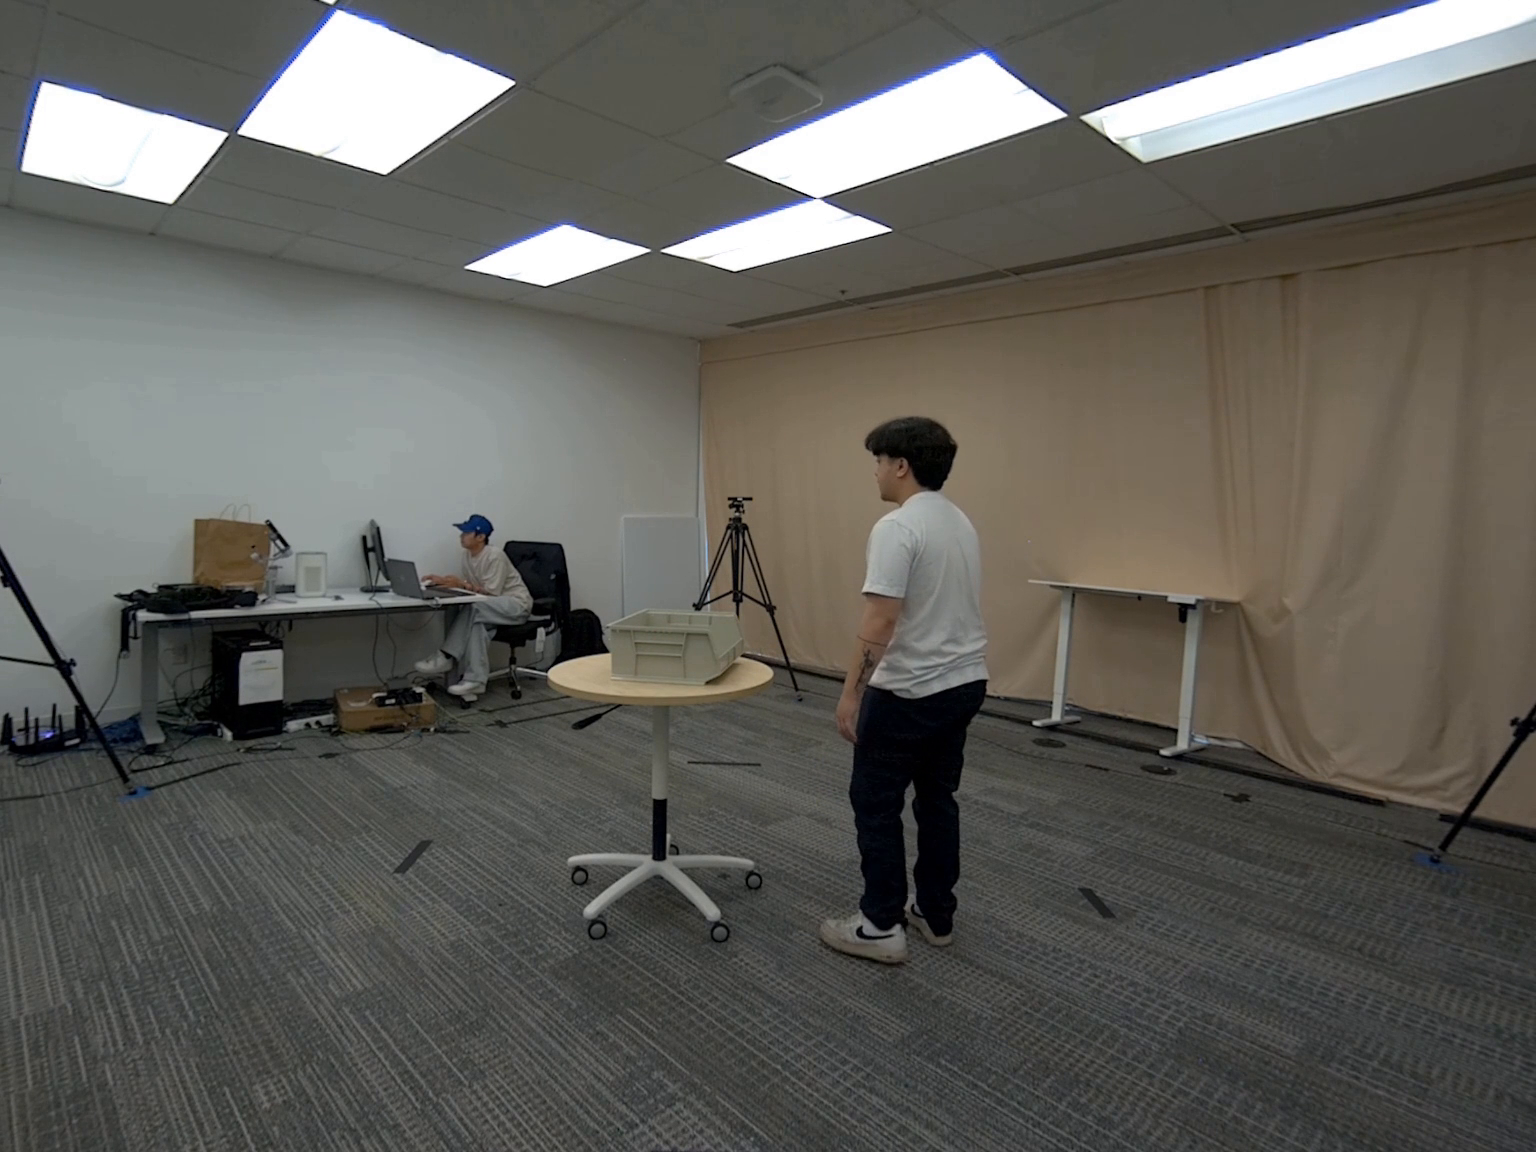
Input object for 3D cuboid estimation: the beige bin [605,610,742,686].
[{"bbox_3d":[-0.297,0.234,2.882,0.380,0.188,0.420,0,4,9],"label":"beige bin"}]
